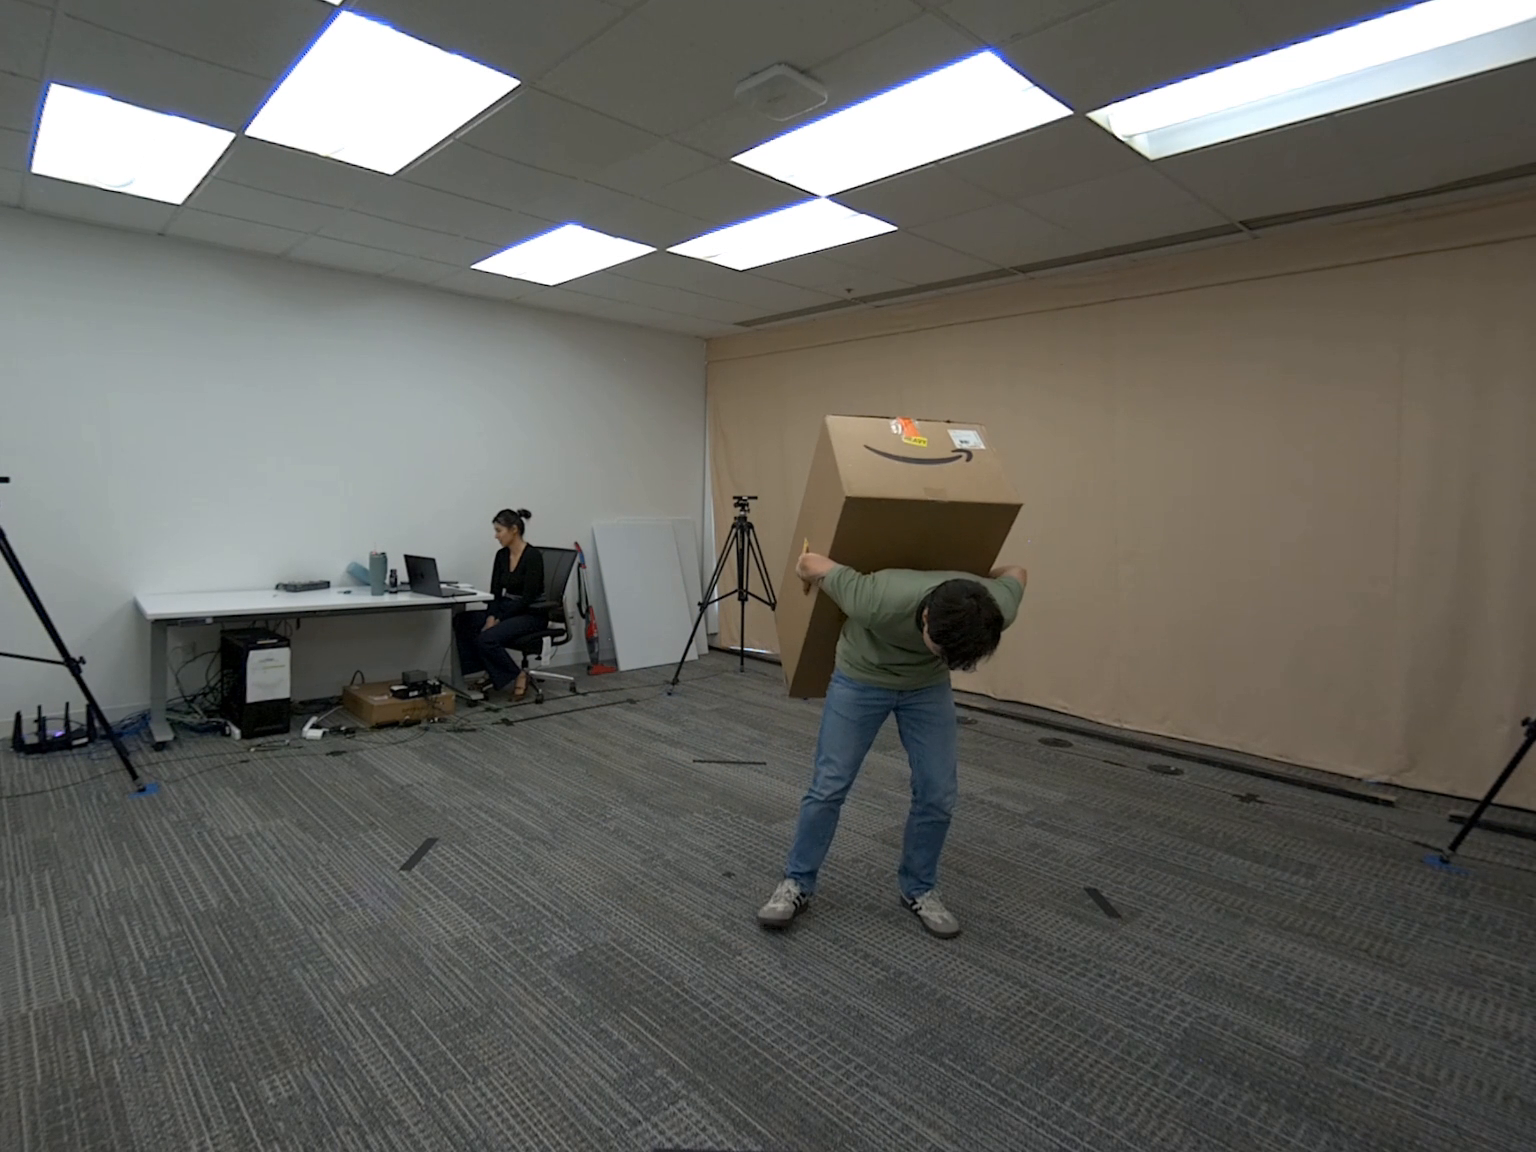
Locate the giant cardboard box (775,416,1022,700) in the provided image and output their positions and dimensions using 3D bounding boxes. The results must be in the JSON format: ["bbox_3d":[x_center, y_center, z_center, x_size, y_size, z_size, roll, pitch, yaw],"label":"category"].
[{"bbox_3d":[0.399,-0.030,3.052,0.573,1.008,0.436,4,44,-9],"label":"giant cardboard box"}]
